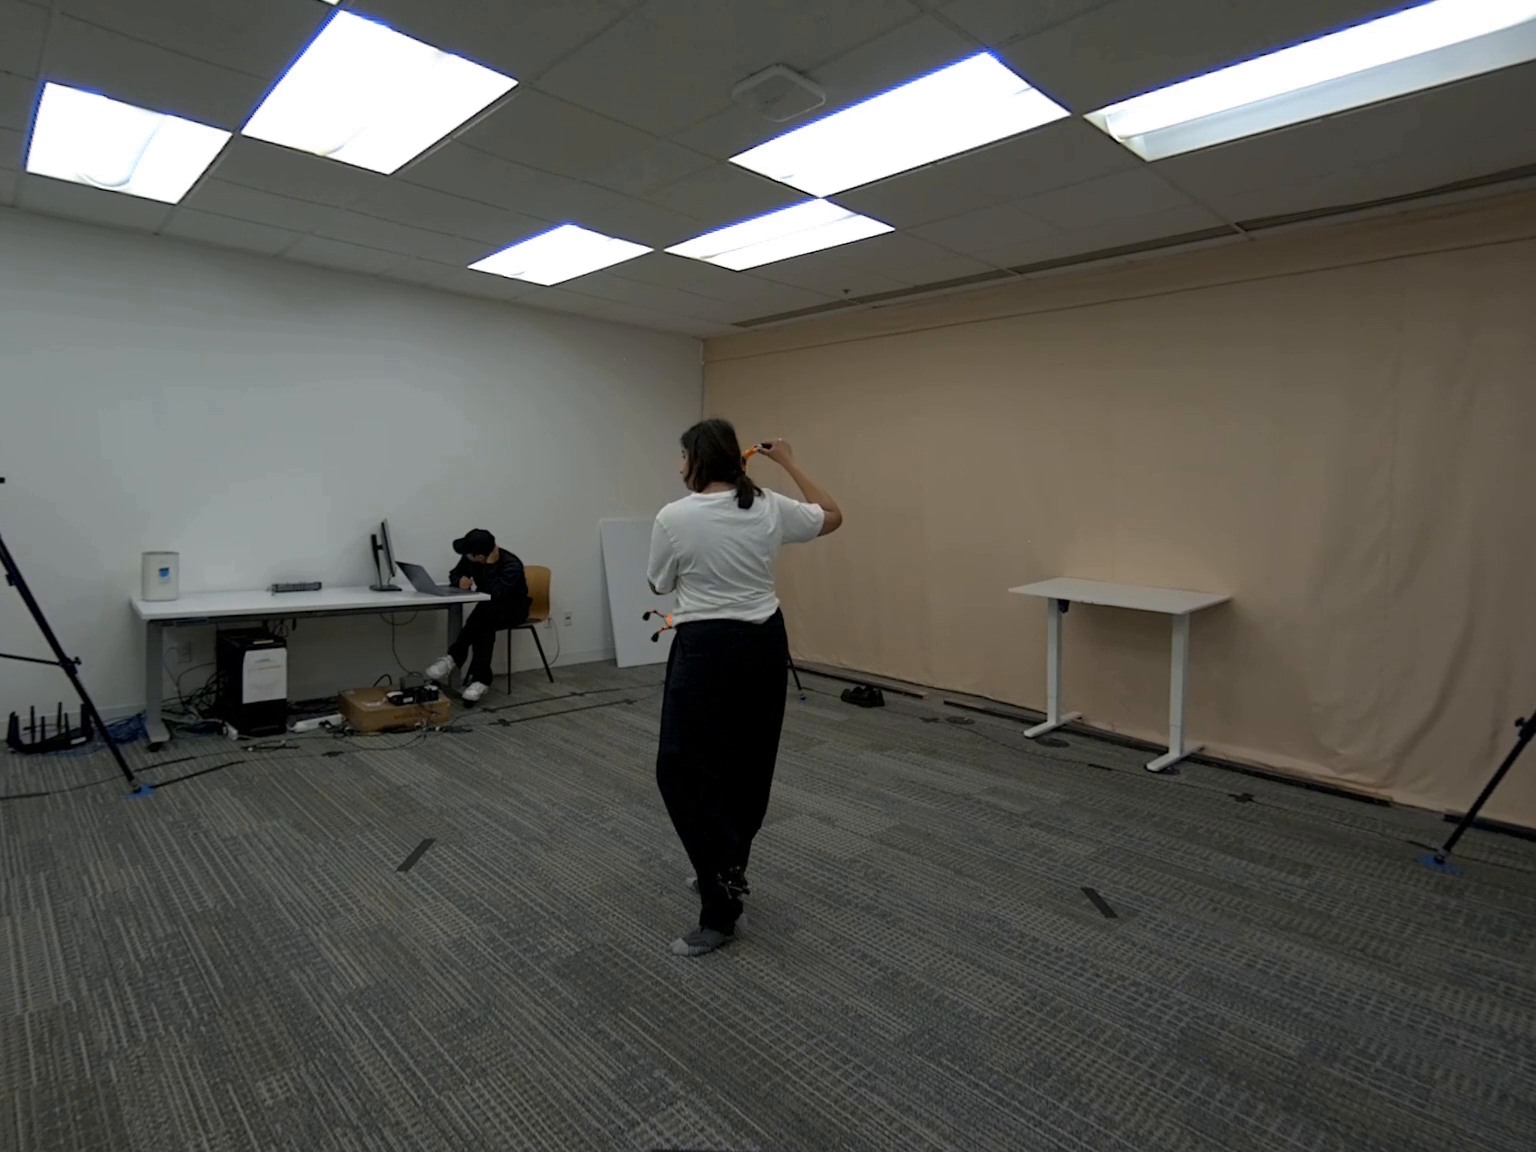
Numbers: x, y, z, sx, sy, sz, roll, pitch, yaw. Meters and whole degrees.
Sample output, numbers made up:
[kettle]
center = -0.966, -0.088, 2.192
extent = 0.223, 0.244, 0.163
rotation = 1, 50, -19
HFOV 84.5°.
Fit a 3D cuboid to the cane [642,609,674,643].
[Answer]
[cane]
center = -0.215, -0.107, 3.156
extent = 0.201, 0.901, 0.156
rotation = 4, 36, -36
